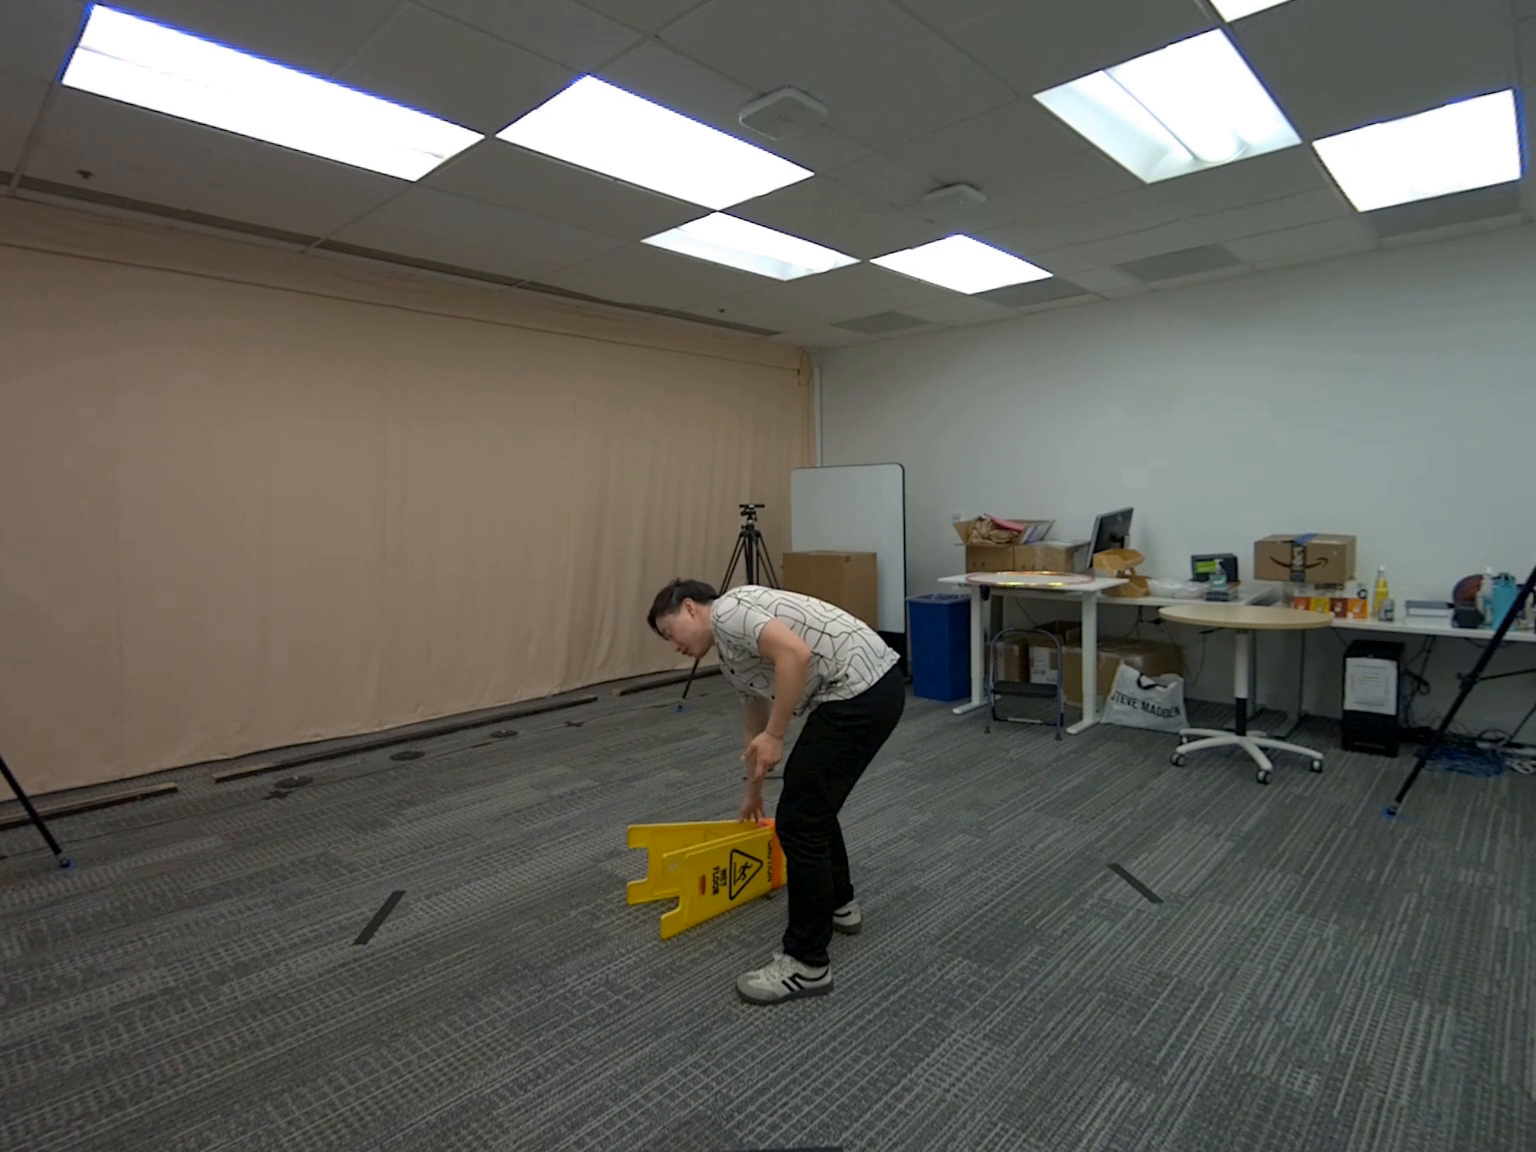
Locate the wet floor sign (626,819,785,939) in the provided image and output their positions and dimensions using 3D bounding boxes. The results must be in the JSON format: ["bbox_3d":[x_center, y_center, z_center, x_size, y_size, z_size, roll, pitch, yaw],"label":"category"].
[{"bbox_3d":[-0.146,1.011,2.979,0.628,0.281,0.298,-2,4,-31],"label":"wet floor sign"}]
